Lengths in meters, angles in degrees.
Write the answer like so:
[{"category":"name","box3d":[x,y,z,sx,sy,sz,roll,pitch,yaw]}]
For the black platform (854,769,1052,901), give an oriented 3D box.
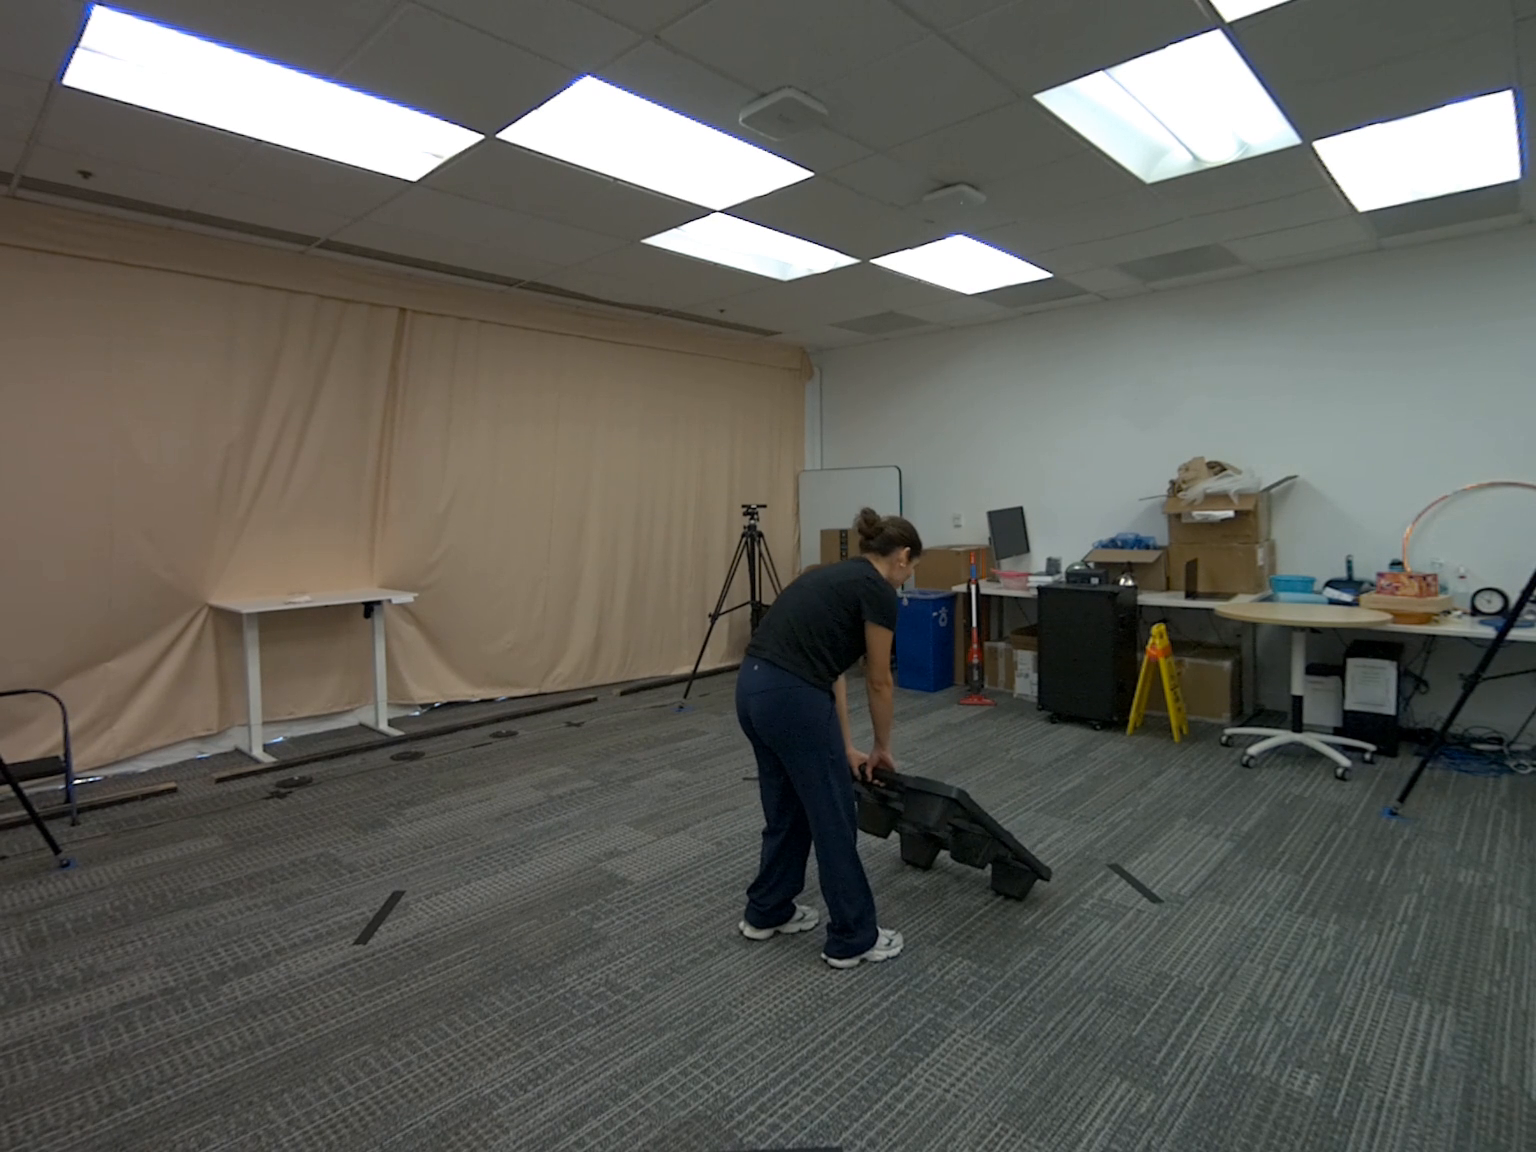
[{"category":"black platform","box3d":[0.548,0.866,2.894,0.625,0.143,0.778,3,-32,43]}]
